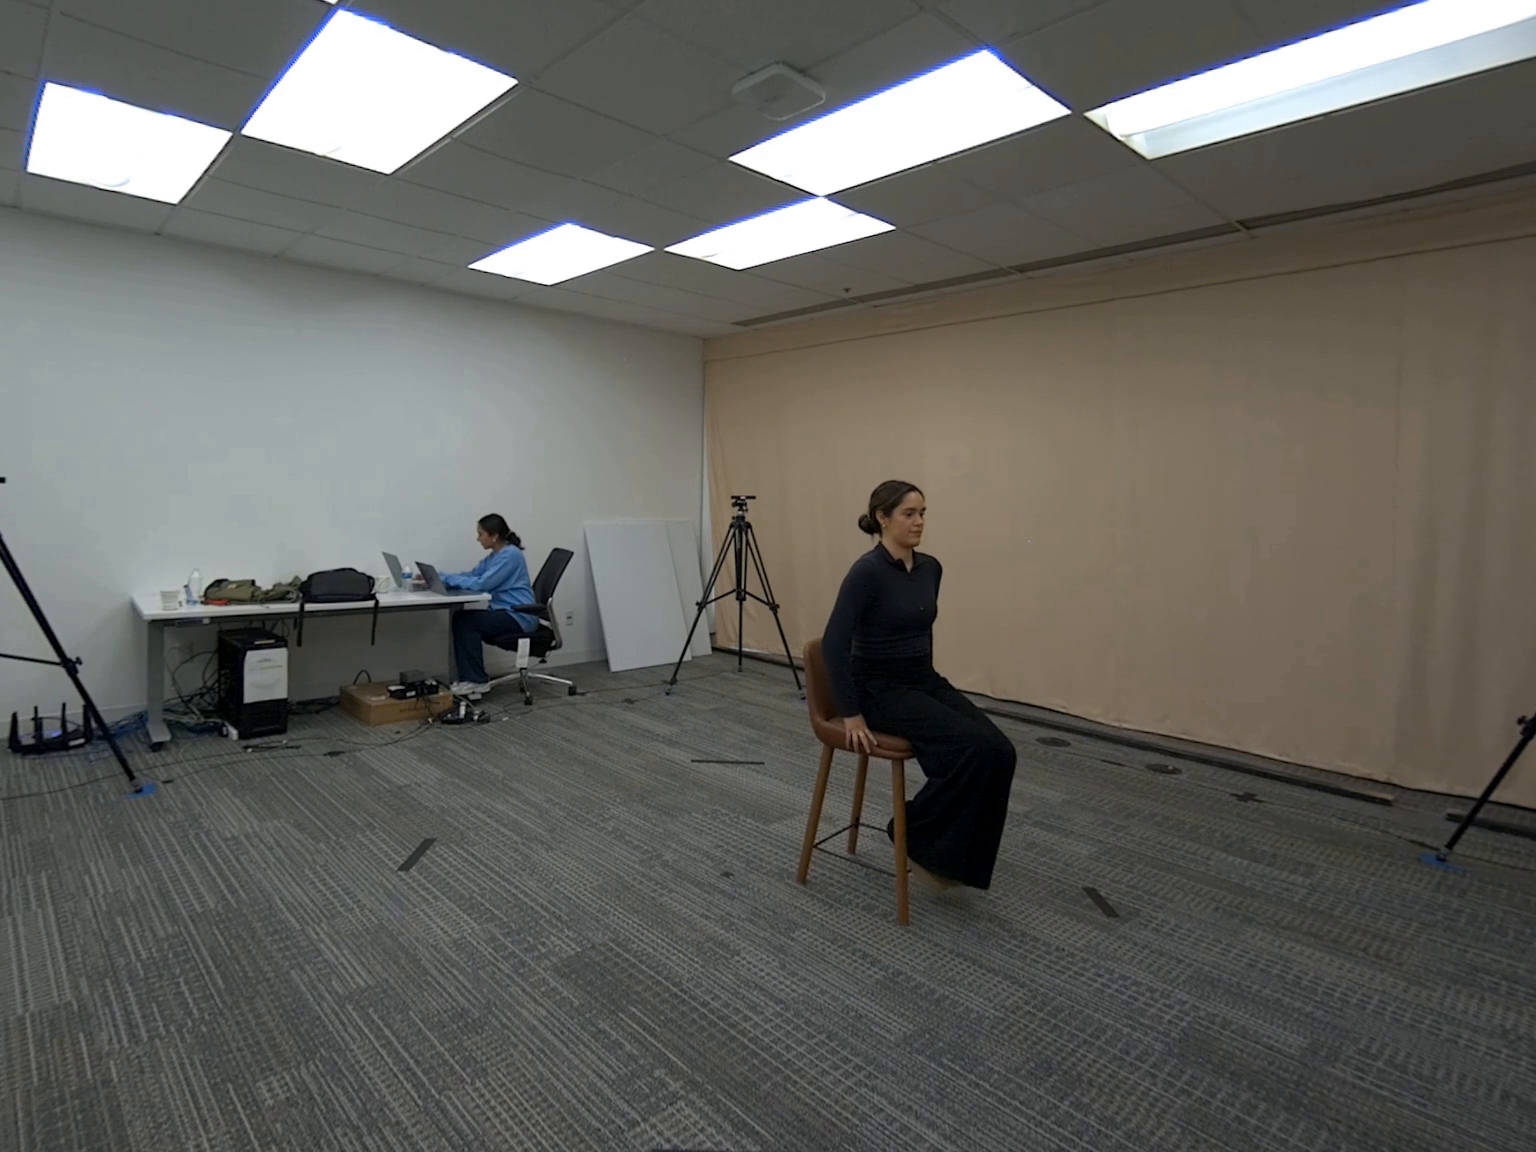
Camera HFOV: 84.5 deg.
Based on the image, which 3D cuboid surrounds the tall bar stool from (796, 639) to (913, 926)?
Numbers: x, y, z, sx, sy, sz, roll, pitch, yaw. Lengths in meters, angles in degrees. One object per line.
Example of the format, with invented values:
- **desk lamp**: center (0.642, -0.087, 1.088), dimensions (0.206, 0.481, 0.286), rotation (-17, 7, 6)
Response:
- **tall bar stool**: center (0.393, 0.687, 3.035), dimensions (0.479, 0.888, 0.446), rotation (2, 3, 38)
